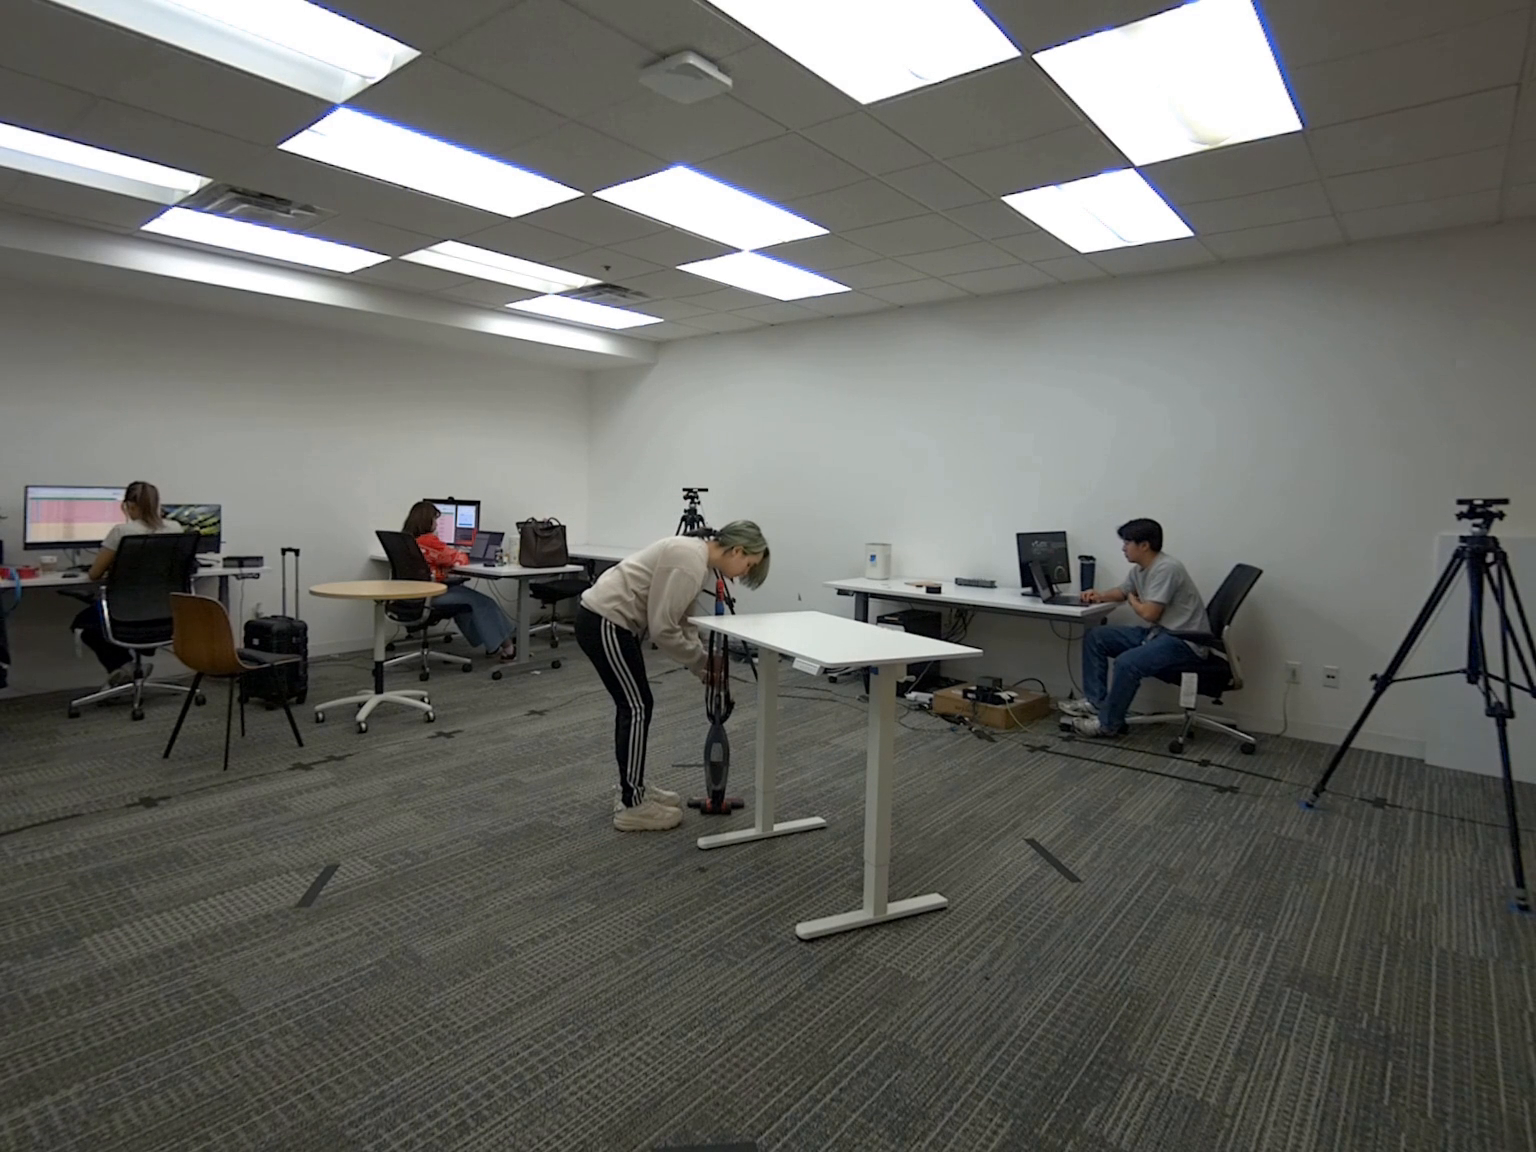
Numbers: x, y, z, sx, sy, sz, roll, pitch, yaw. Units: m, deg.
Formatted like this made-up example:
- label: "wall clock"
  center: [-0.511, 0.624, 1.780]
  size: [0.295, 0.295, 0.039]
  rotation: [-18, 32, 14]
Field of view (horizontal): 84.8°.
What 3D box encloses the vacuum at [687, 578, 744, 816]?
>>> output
- label: "vacuum"
  center: [-0.224, 0.526, 3.558]
  size: [0.252, 1.033, 0.146]
  rotation: [2, 17, -1]
